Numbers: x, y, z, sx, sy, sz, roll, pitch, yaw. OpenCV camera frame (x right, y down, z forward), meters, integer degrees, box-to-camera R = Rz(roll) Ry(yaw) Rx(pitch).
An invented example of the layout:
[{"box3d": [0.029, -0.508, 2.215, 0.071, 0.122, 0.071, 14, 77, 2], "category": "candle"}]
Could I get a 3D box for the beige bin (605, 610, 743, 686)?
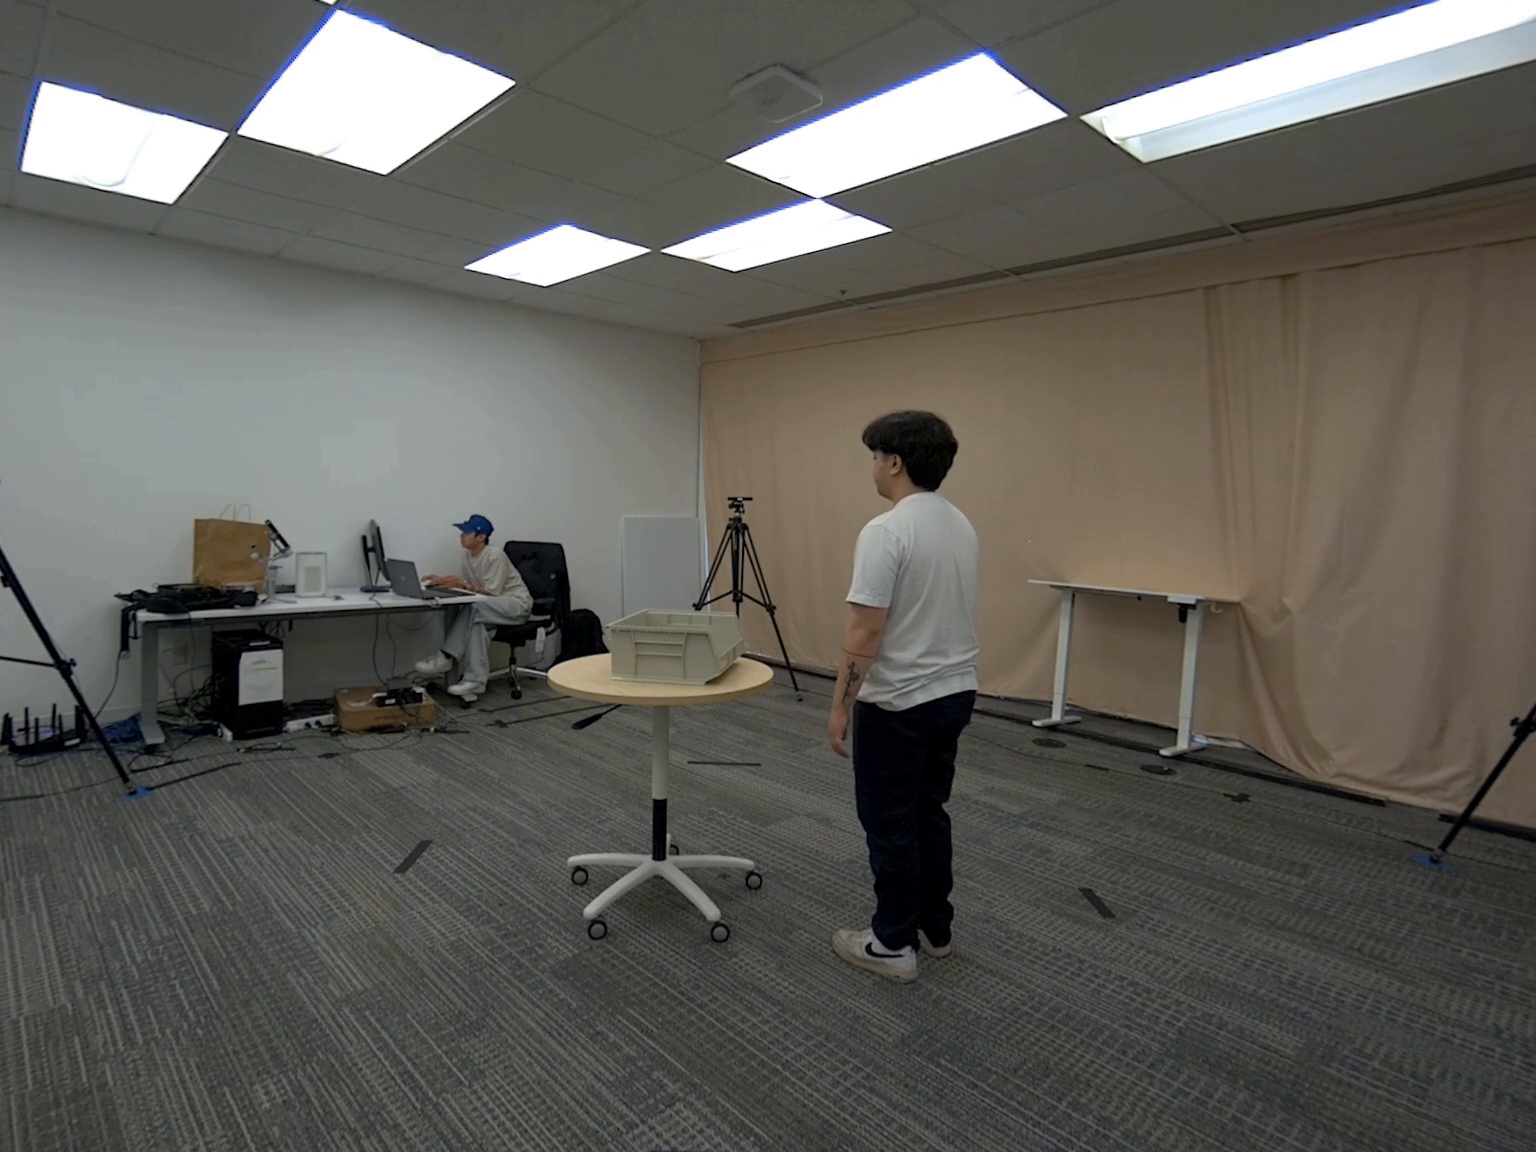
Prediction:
[{"box3d": [-0.297, 0.238, 2.882, 0.380, 0.188, 0.420, 1, 3, 8], "category": "beige bin"}]
